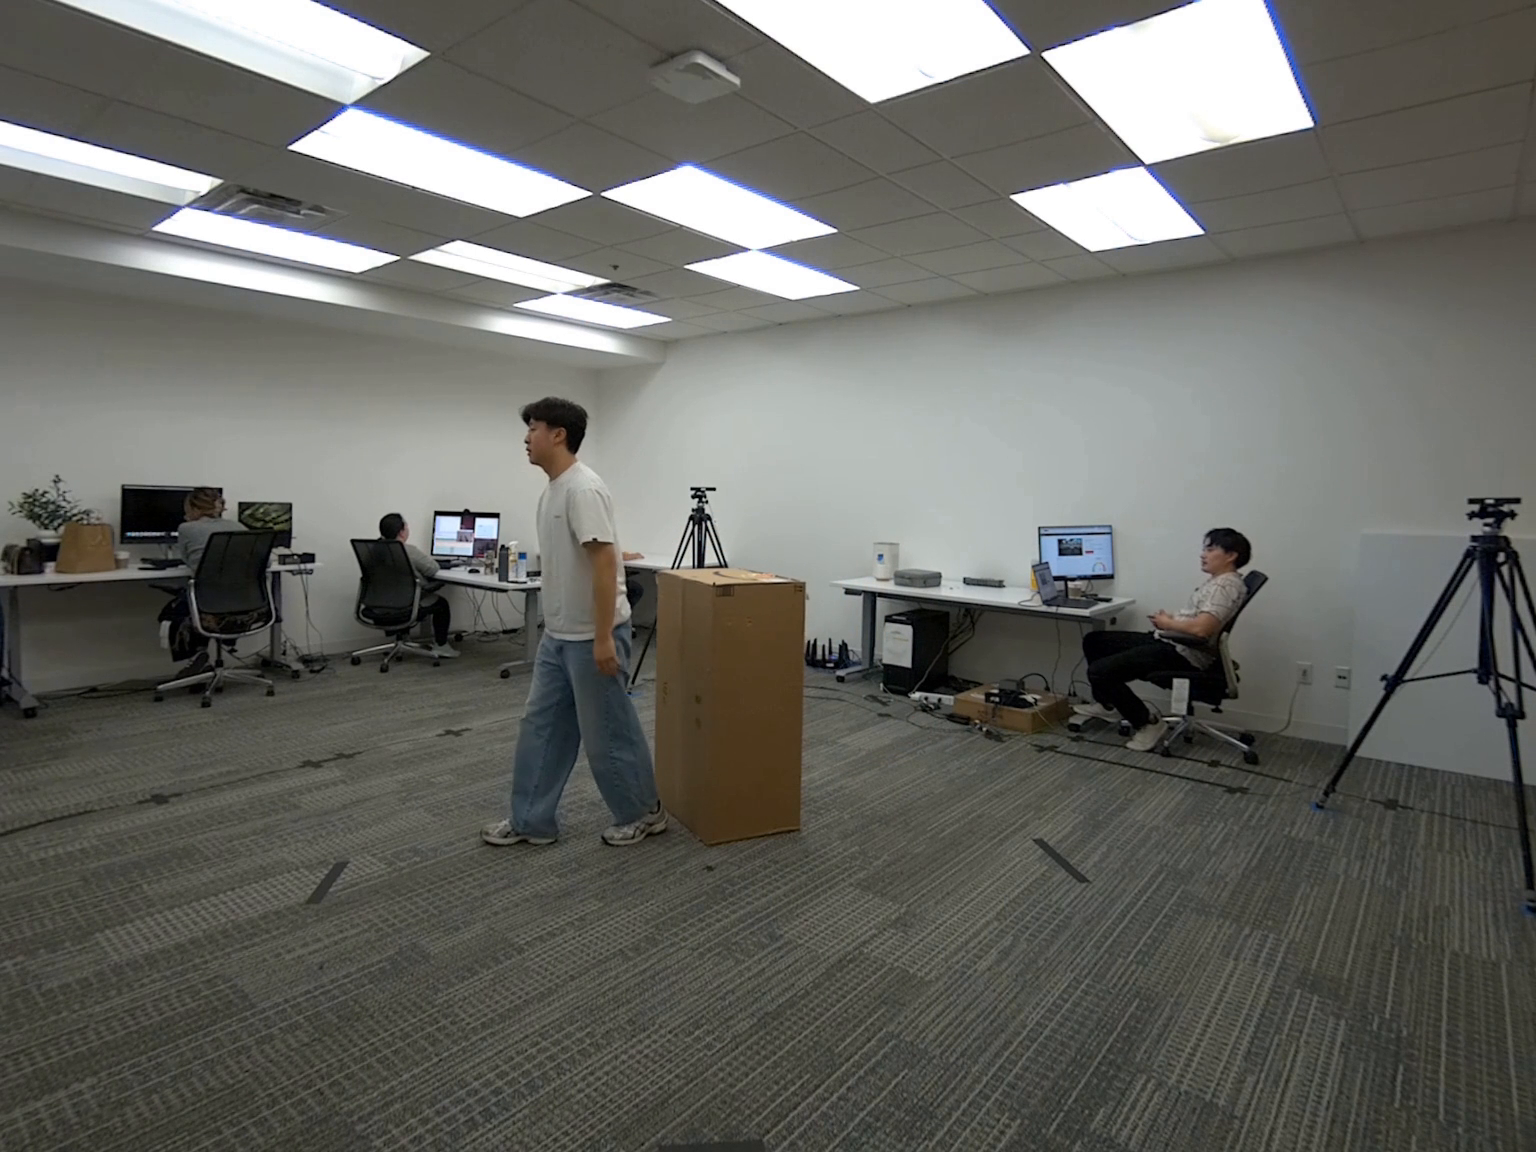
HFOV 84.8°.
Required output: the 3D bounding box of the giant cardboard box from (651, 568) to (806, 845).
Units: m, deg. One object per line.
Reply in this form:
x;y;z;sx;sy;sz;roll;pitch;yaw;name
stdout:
-0.187;0.505;3.624;0.415;1.023;0.594;0;3;-29;giant cardboard box
